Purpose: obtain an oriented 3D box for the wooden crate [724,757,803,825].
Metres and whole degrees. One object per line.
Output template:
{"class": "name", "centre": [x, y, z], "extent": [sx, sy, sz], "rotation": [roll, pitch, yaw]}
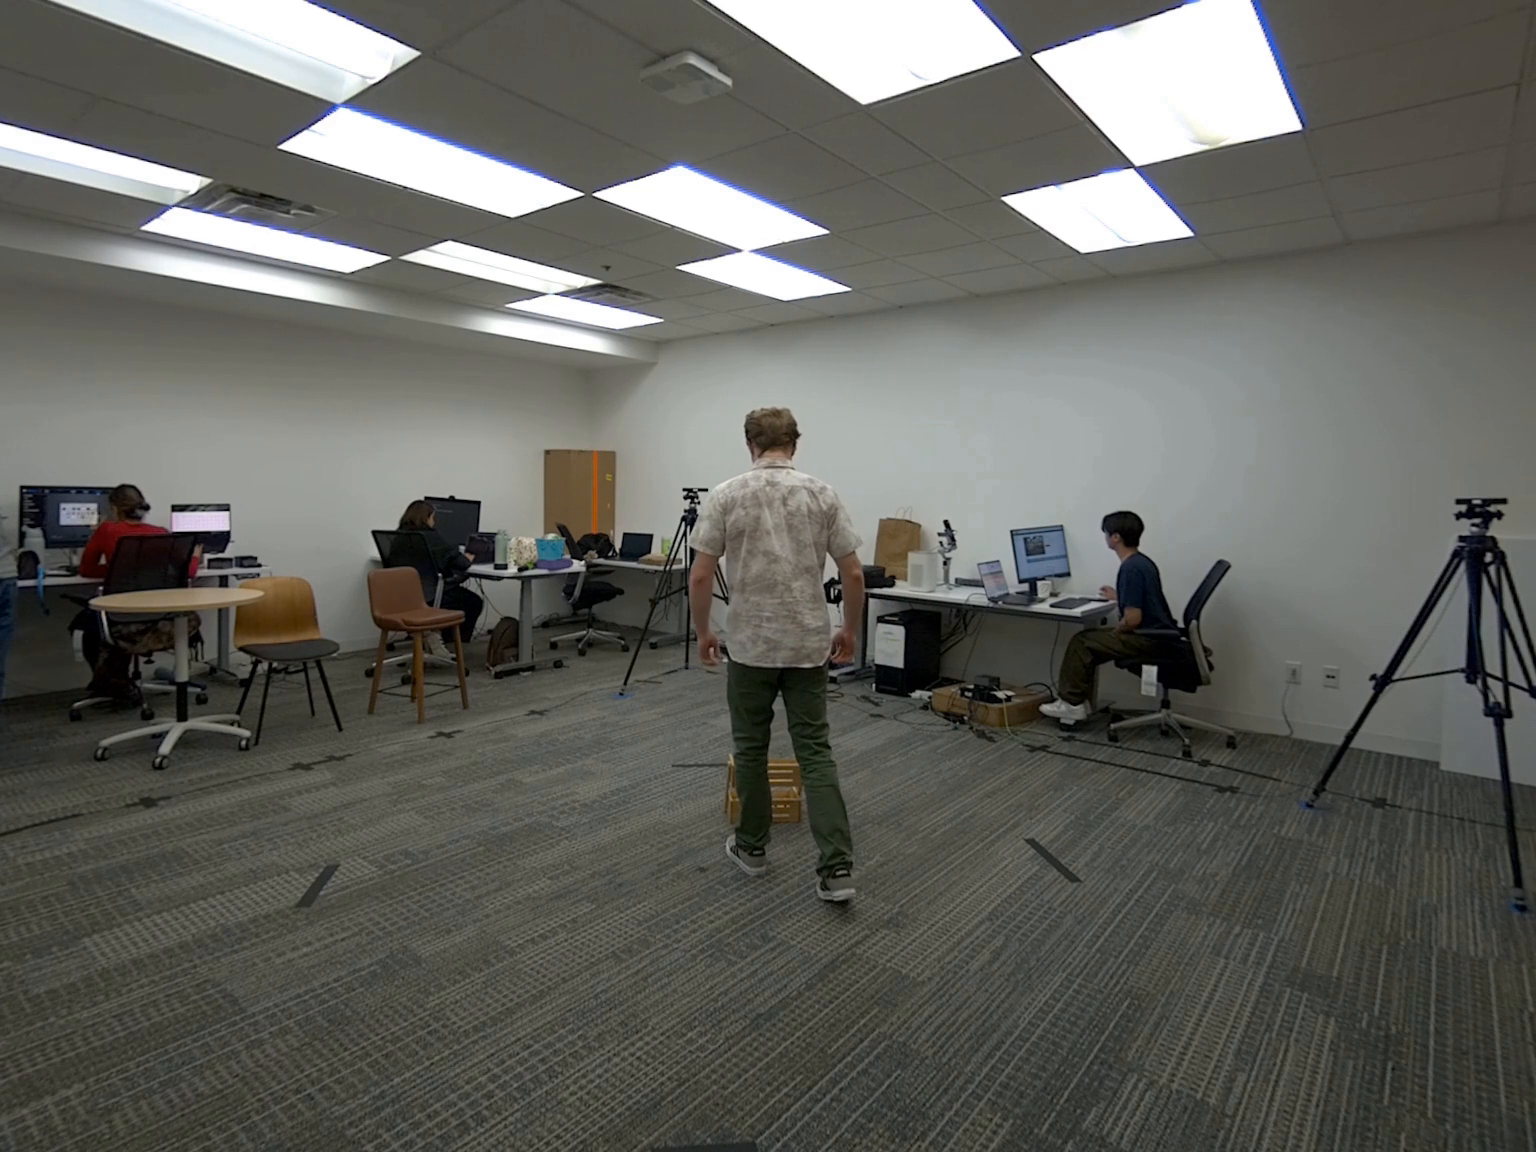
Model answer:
{"class": "wooden crate", "centre": [-0.030, 0.889, 3.663], "extent": [0.322, 0.272, 0.305], "rotation": [0, 5, -7]}
